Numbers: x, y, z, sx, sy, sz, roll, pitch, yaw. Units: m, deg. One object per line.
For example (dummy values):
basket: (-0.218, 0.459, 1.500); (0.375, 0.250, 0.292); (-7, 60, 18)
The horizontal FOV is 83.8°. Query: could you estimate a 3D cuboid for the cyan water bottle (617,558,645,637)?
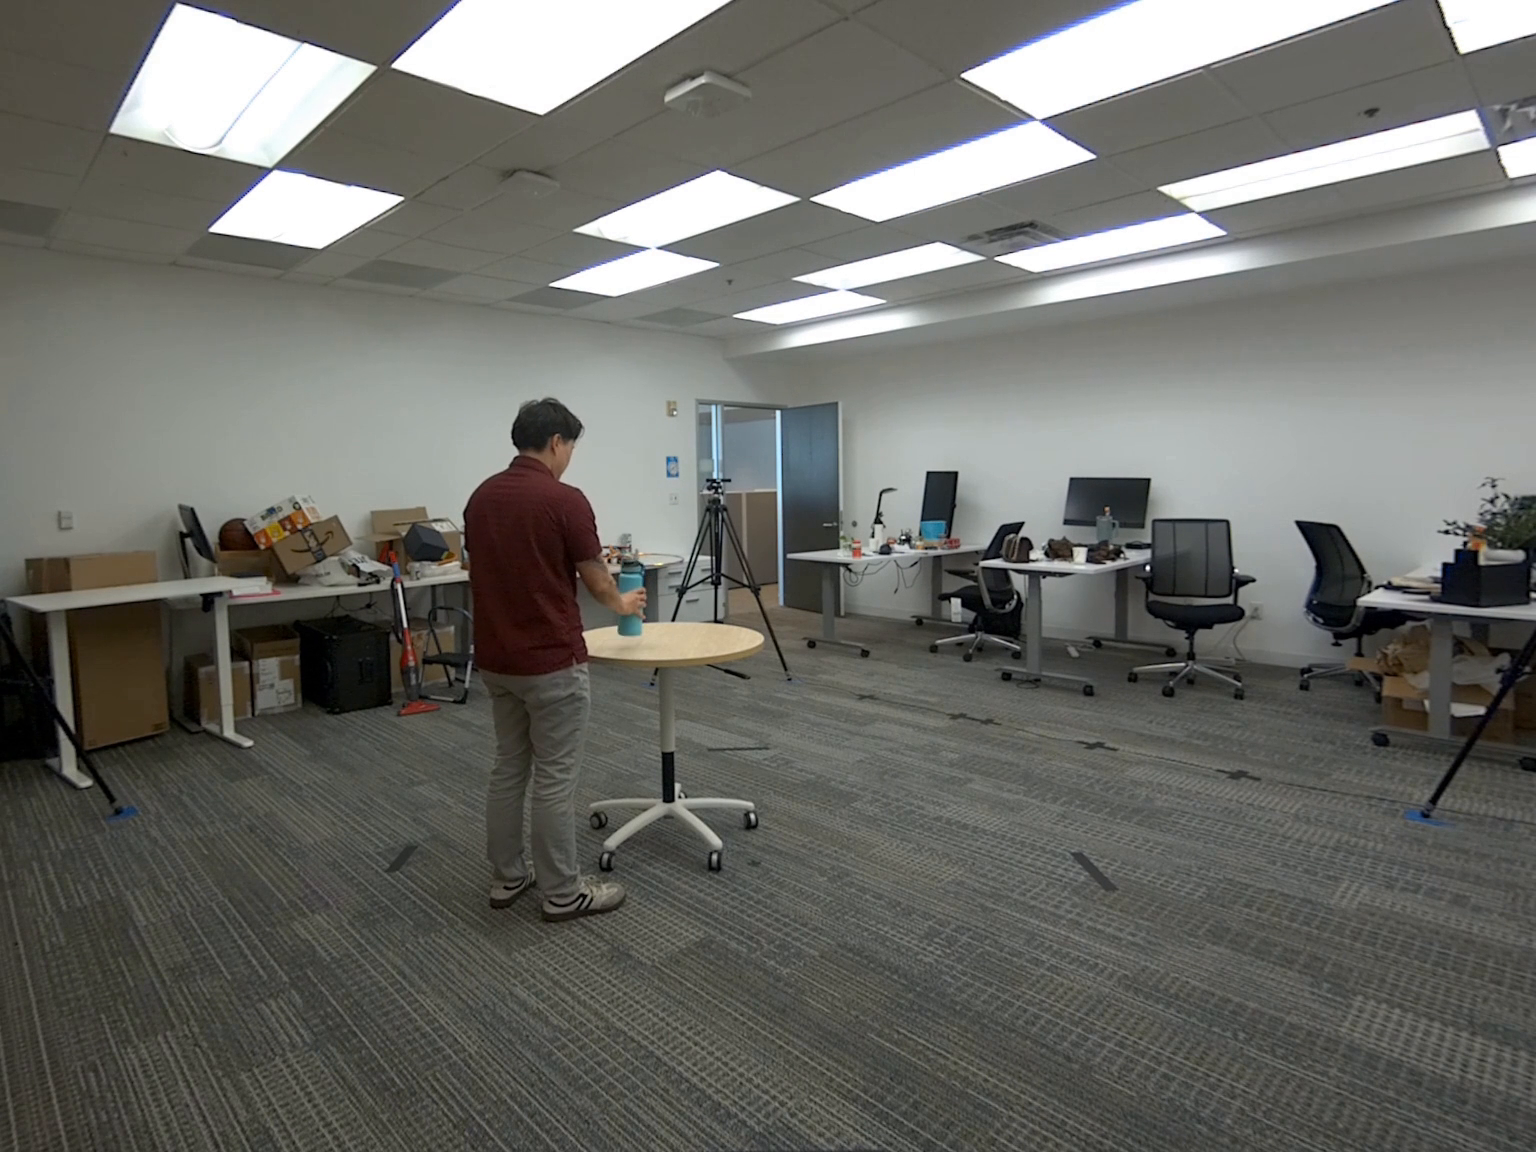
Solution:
cyan water bottle: (-0.501, 0.072, 3.124); (0.092, 0.283, 0.092); (3, 2, -2)
